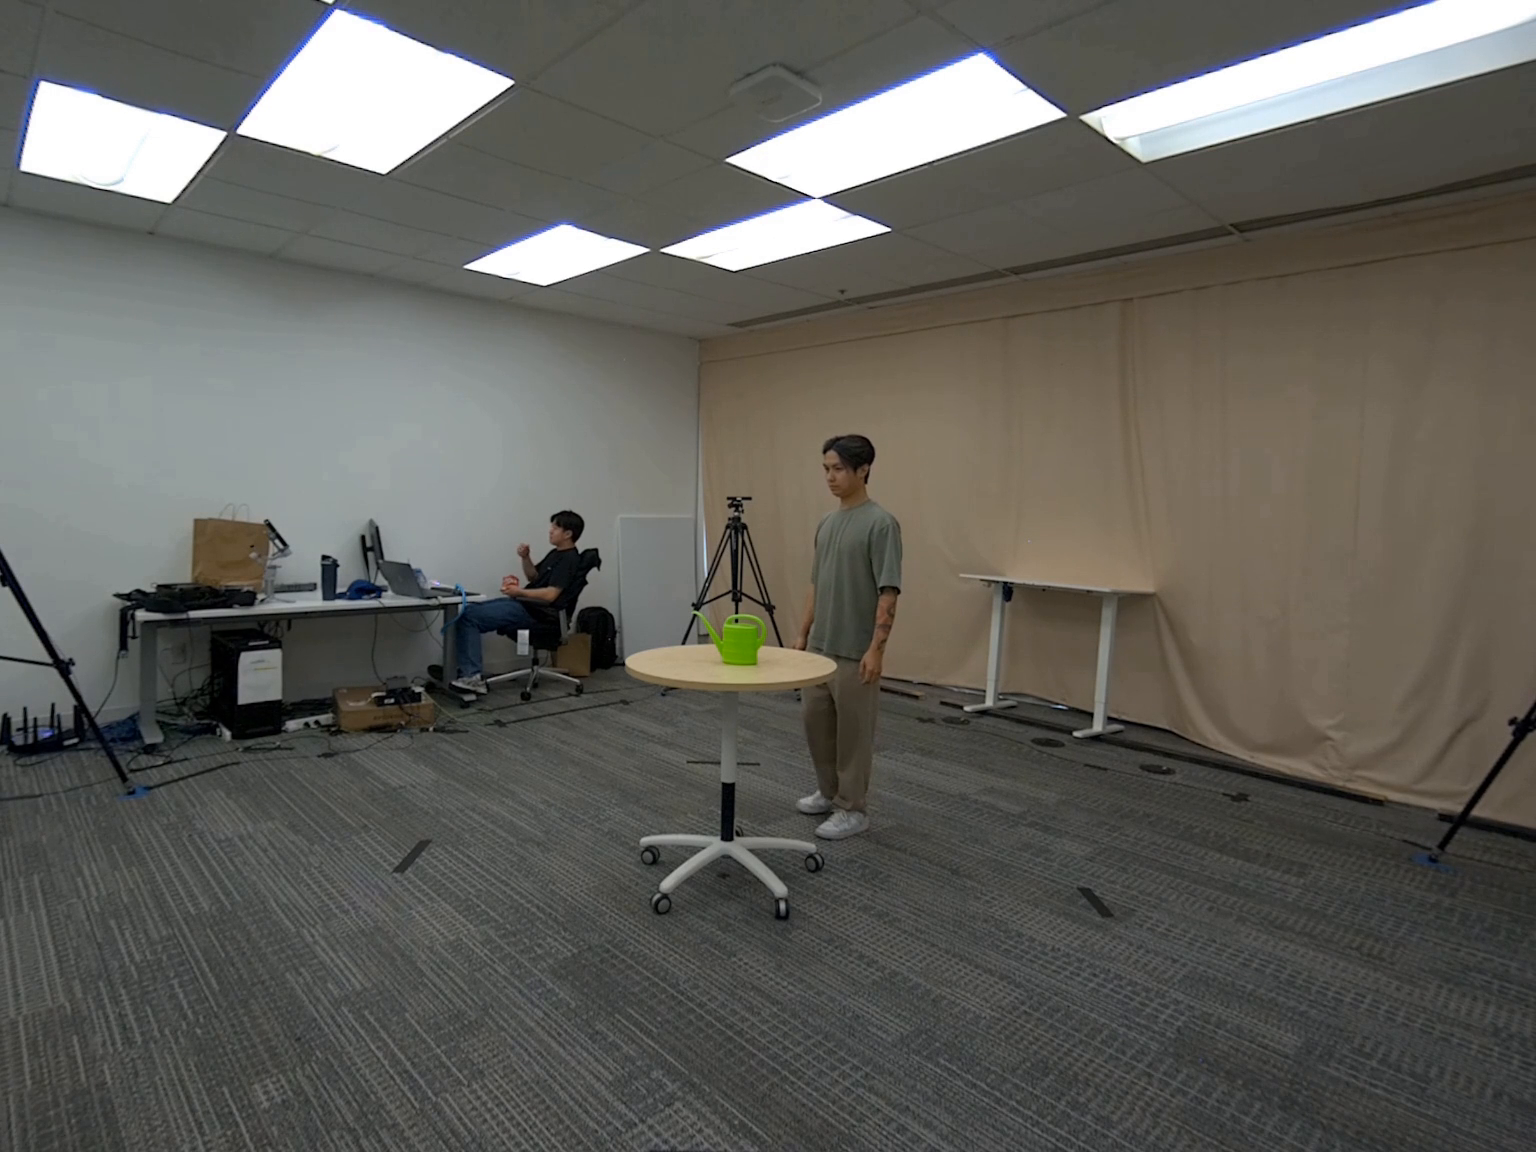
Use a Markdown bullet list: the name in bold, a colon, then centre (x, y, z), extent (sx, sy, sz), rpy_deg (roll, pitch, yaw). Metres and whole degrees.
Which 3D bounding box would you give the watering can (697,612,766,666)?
- **watering can**: centre (-0.141, 0.228, 3.057), extent (0.285, 0.176, 0.096), rpy_deg (6, 5, 33)
